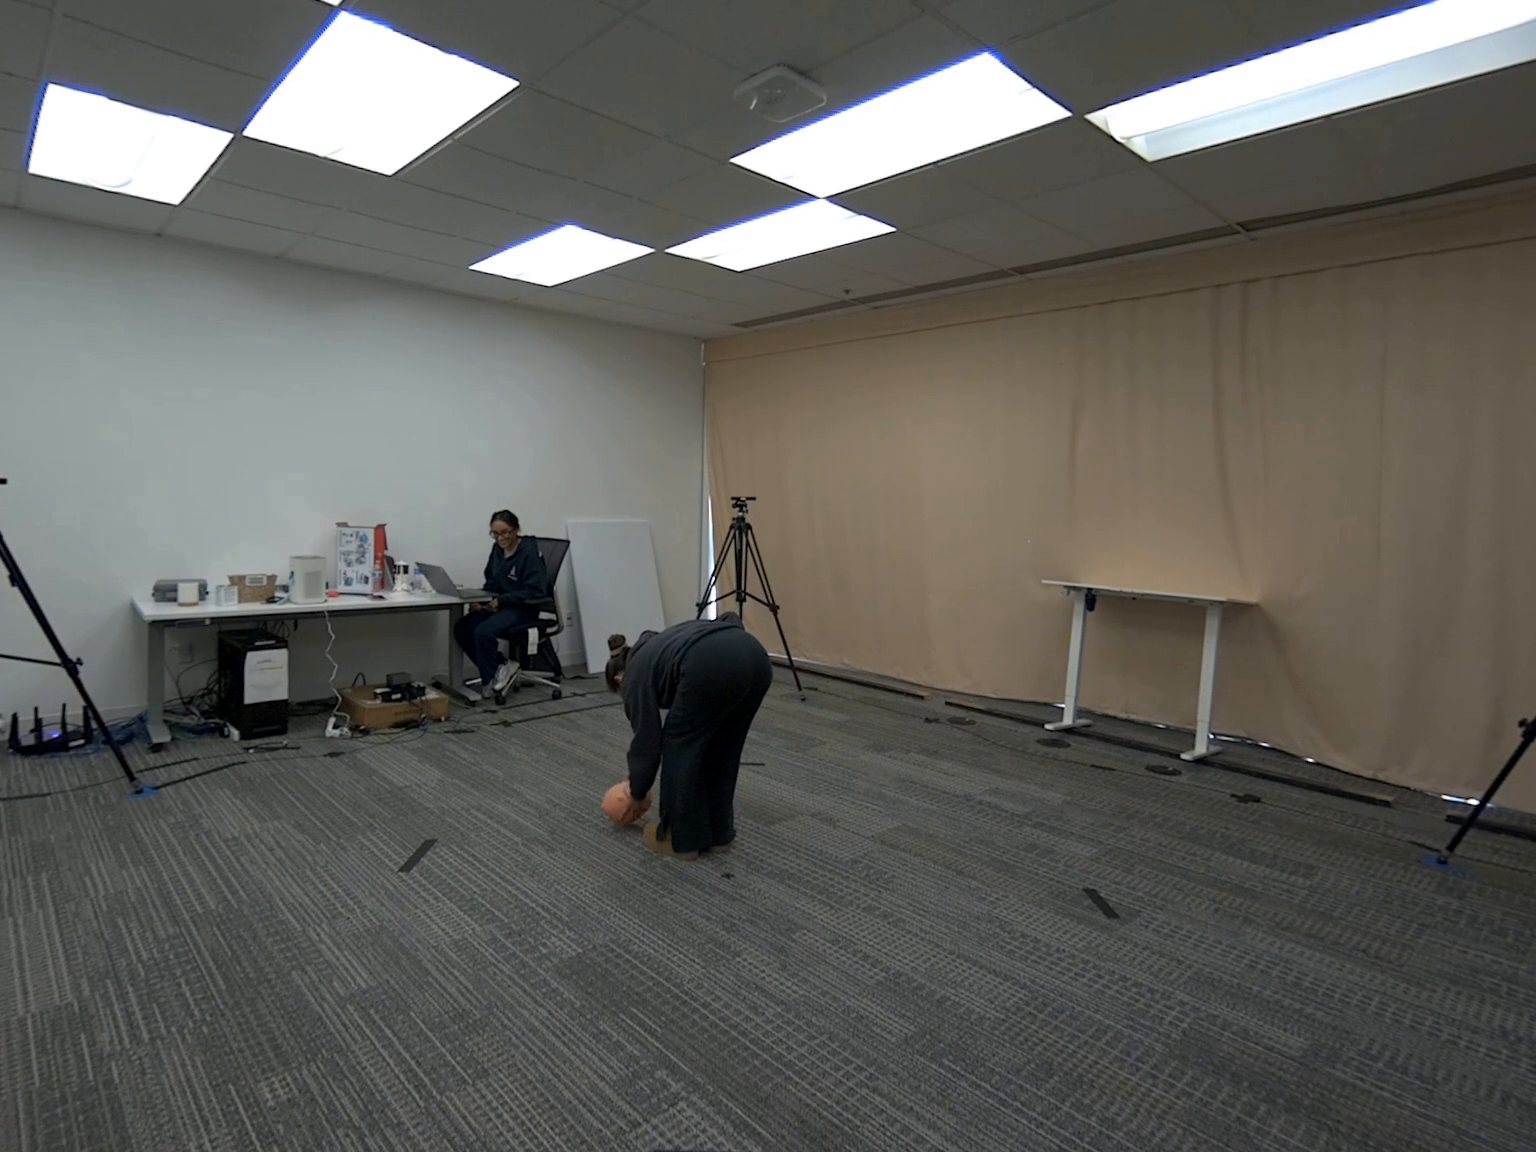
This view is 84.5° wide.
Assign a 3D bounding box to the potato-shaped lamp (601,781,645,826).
[{"bbox_3d":[-0.604,0.925,3.544,0.198,0.169,0.166,-41,12,15],"label":"potato-shaped lamp"}]
